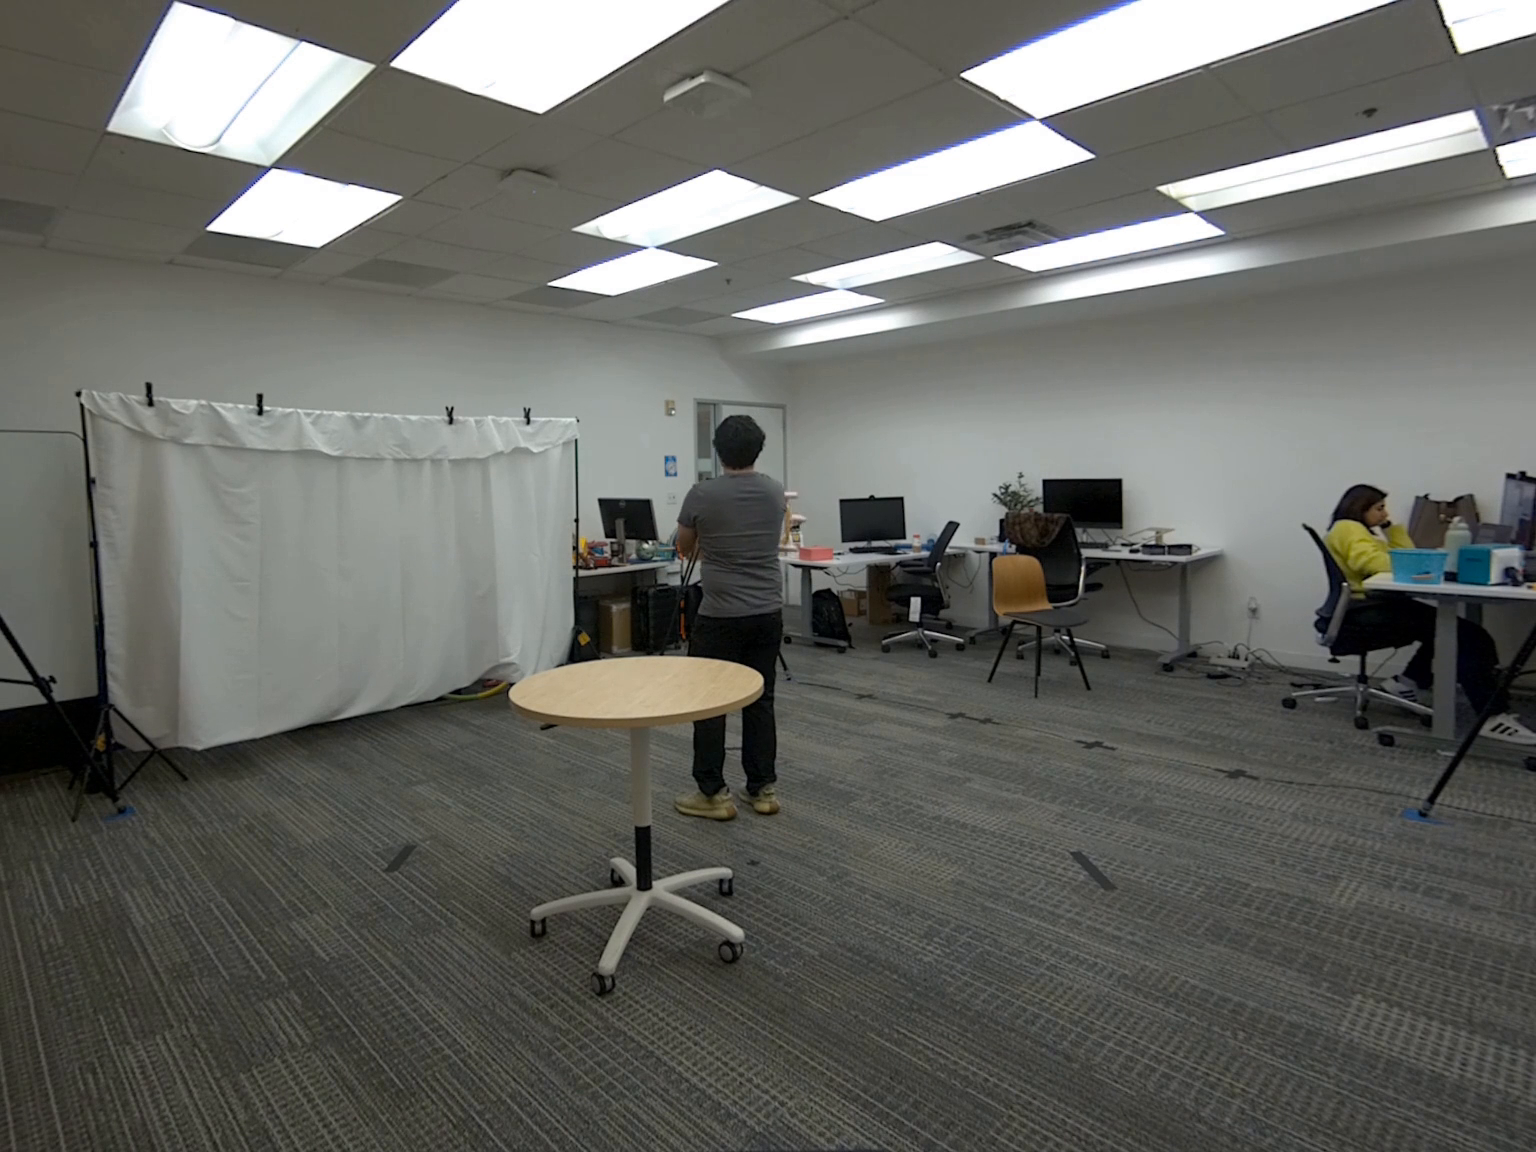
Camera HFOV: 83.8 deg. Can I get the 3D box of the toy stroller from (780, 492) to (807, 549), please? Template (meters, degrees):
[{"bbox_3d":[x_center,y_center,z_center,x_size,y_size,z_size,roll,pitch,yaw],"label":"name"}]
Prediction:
[{"bbox_3d":[-0.079,-0.270,4.084,0.537,0.279,0.343,-1,8,3],"label":"toy stroller"}]
